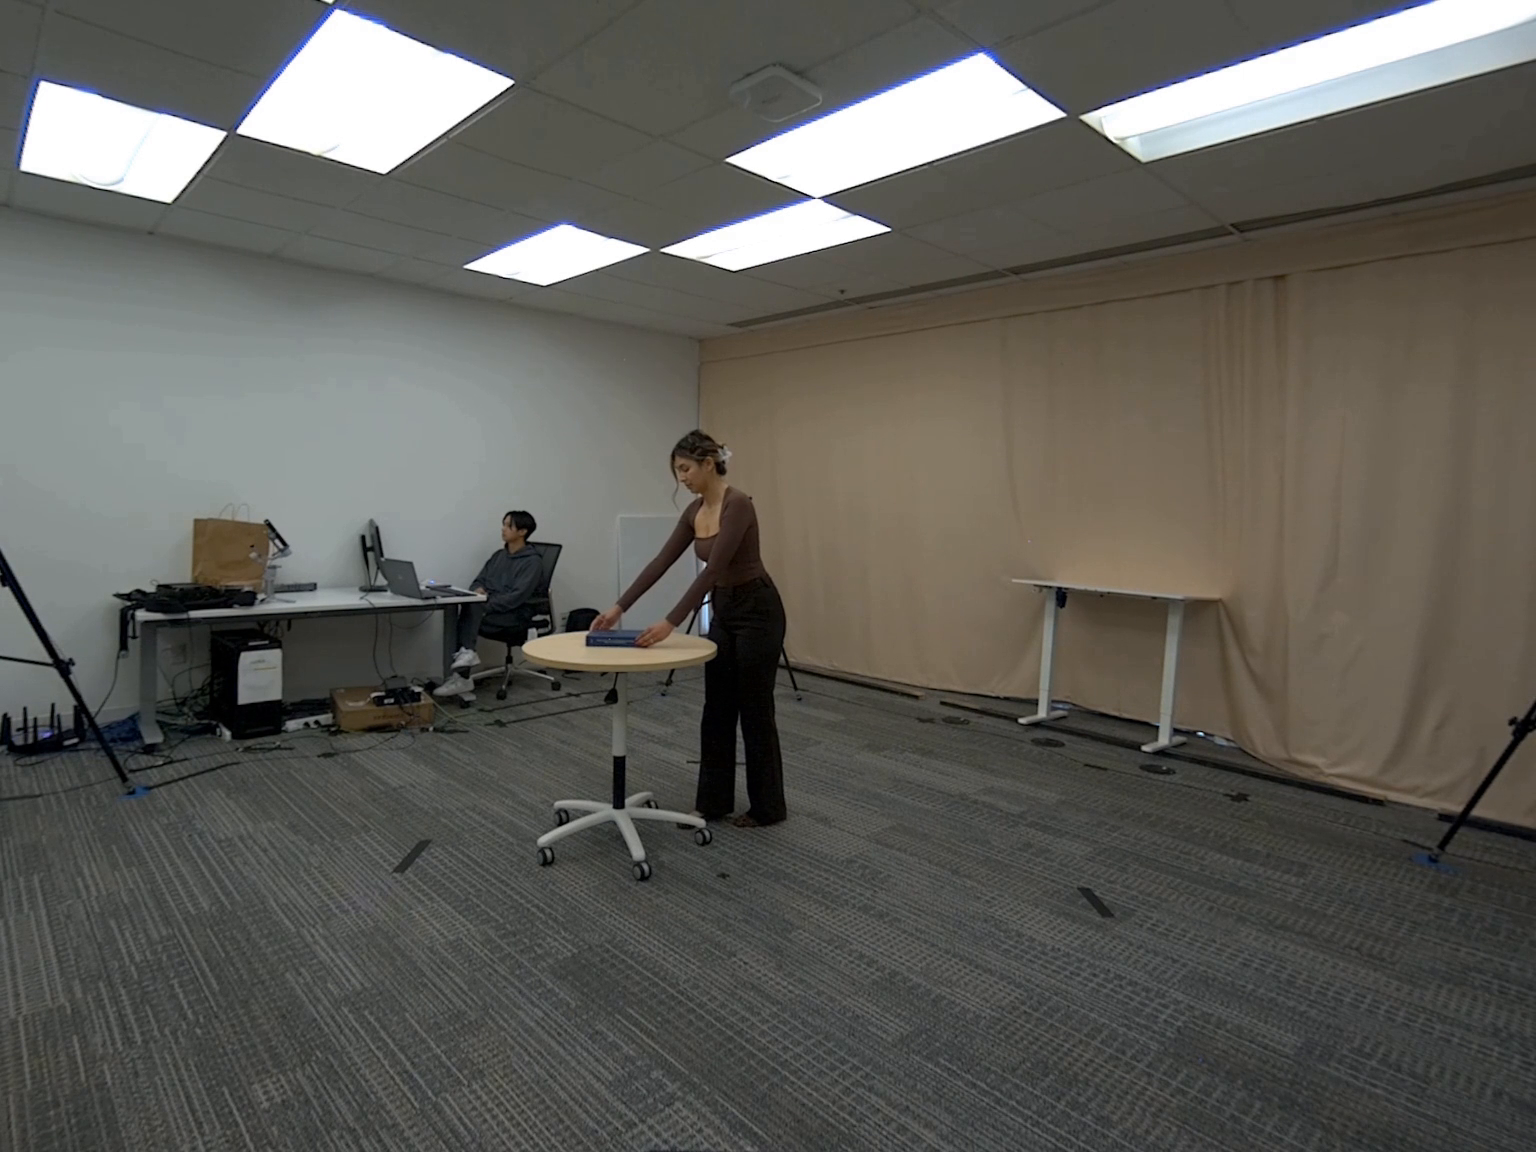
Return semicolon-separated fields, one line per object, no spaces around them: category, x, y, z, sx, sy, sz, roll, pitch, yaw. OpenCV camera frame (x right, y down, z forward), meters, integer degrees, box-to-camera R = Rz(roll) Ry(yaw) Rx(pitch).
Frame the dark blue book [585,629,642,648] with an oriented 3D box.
dark blue book;-0.616;0.257;3.378;0.245;0.045;0.164;1;5;0
